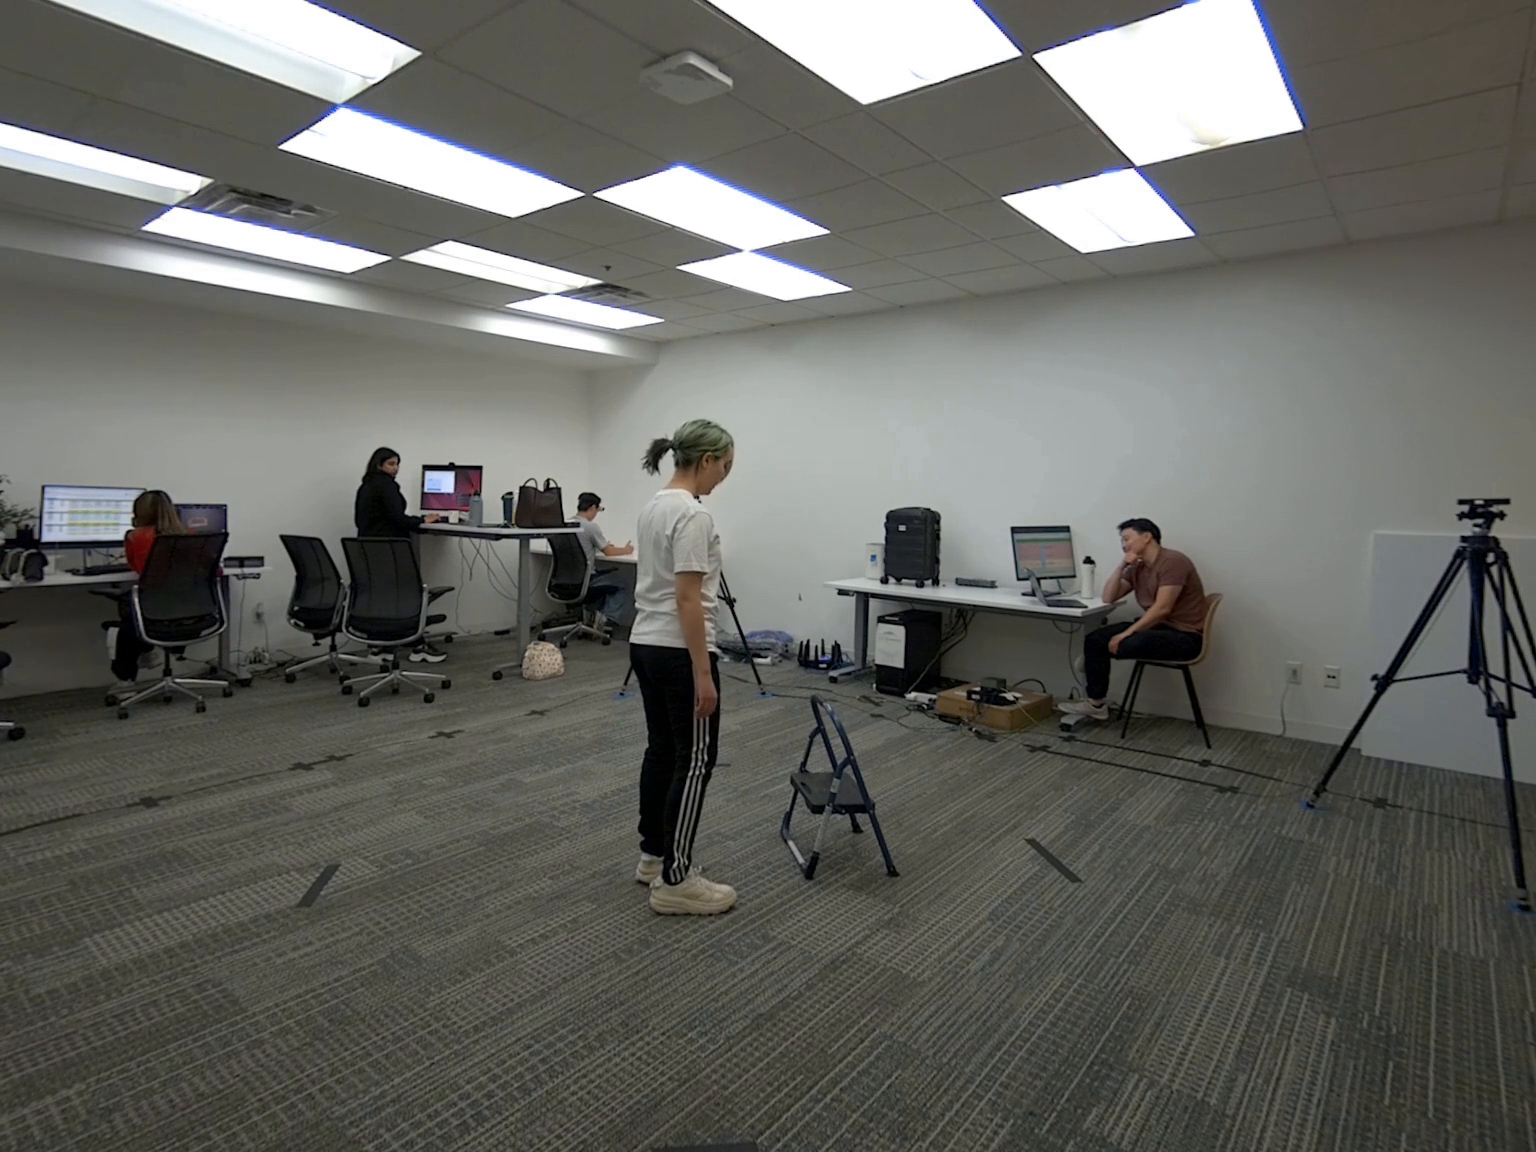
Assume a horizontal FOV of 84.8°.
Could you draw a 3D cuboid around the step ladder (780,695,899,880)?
[{"bbox_3d":[0.259,0.764,3.255,0.345,0.604,0.437,0,3,-13],"label":"step ladder"}]
